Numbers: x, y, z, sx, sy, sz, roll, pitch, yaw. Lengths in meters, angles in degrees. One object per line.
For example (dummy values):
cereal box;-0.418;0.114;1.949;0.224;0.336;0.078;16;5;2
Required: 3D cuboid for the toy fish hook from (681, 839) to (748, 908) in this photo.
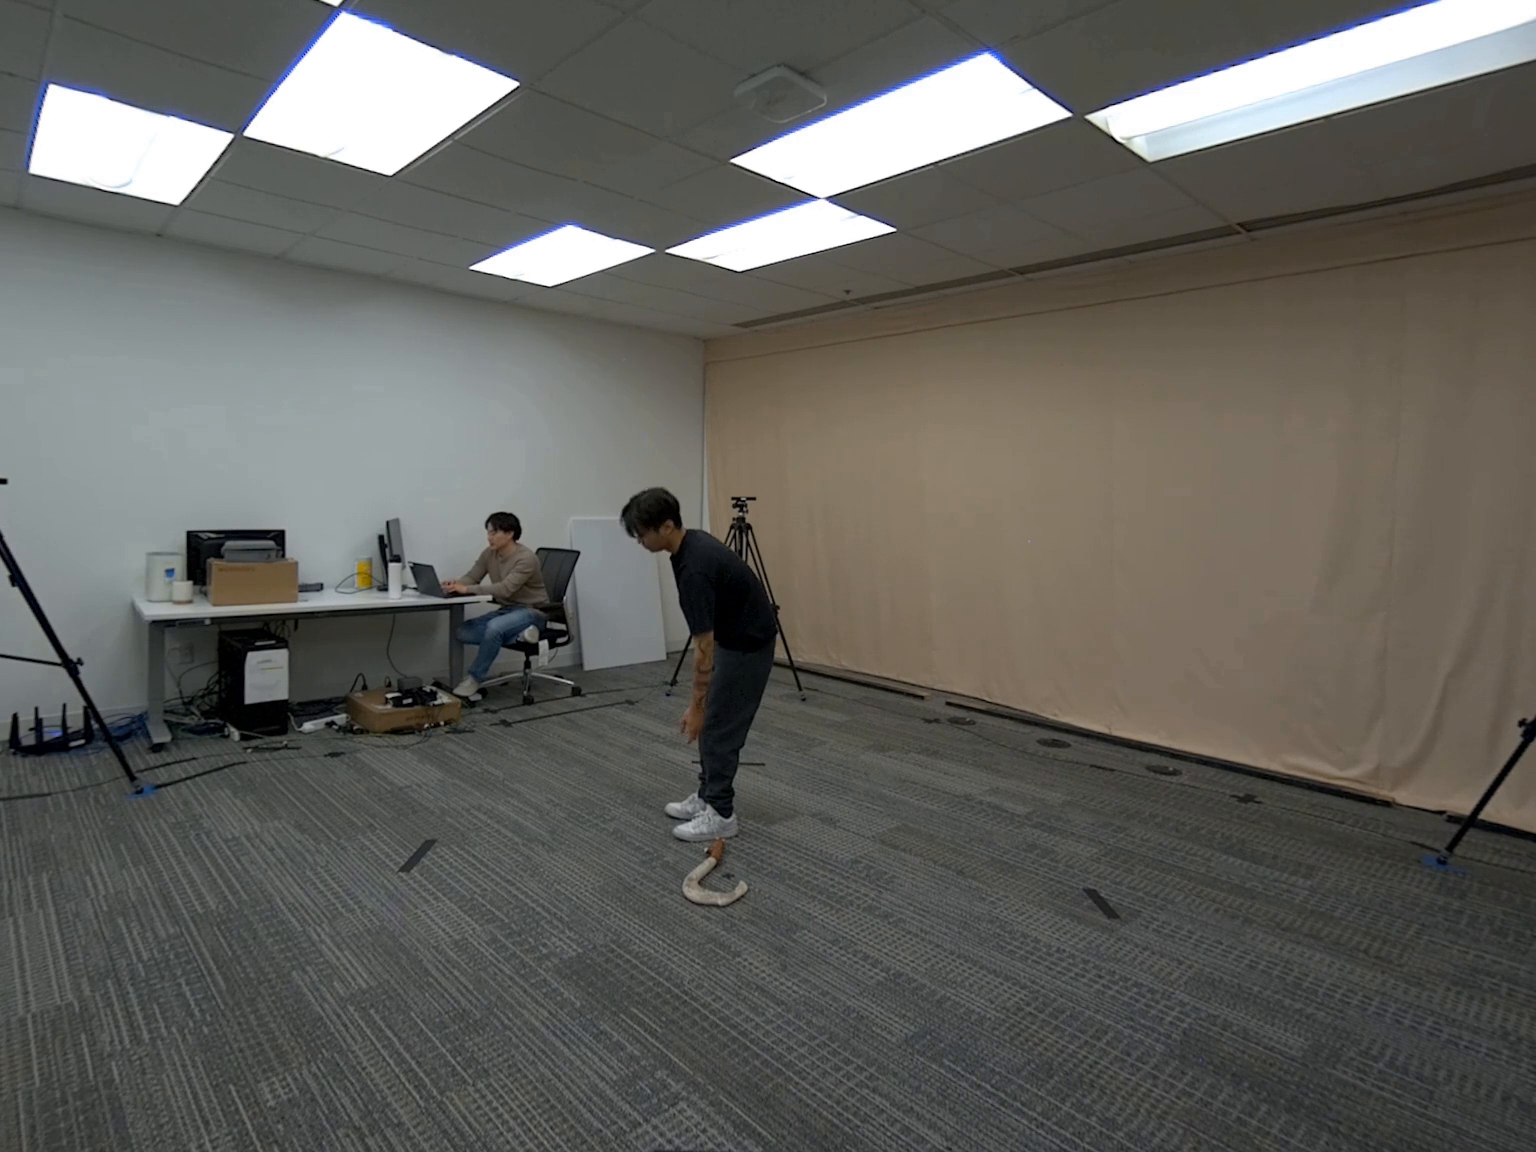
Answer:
toy fish hook;-0.184;1.093;3.110;0.226;0.048;0.505;10;7;6
